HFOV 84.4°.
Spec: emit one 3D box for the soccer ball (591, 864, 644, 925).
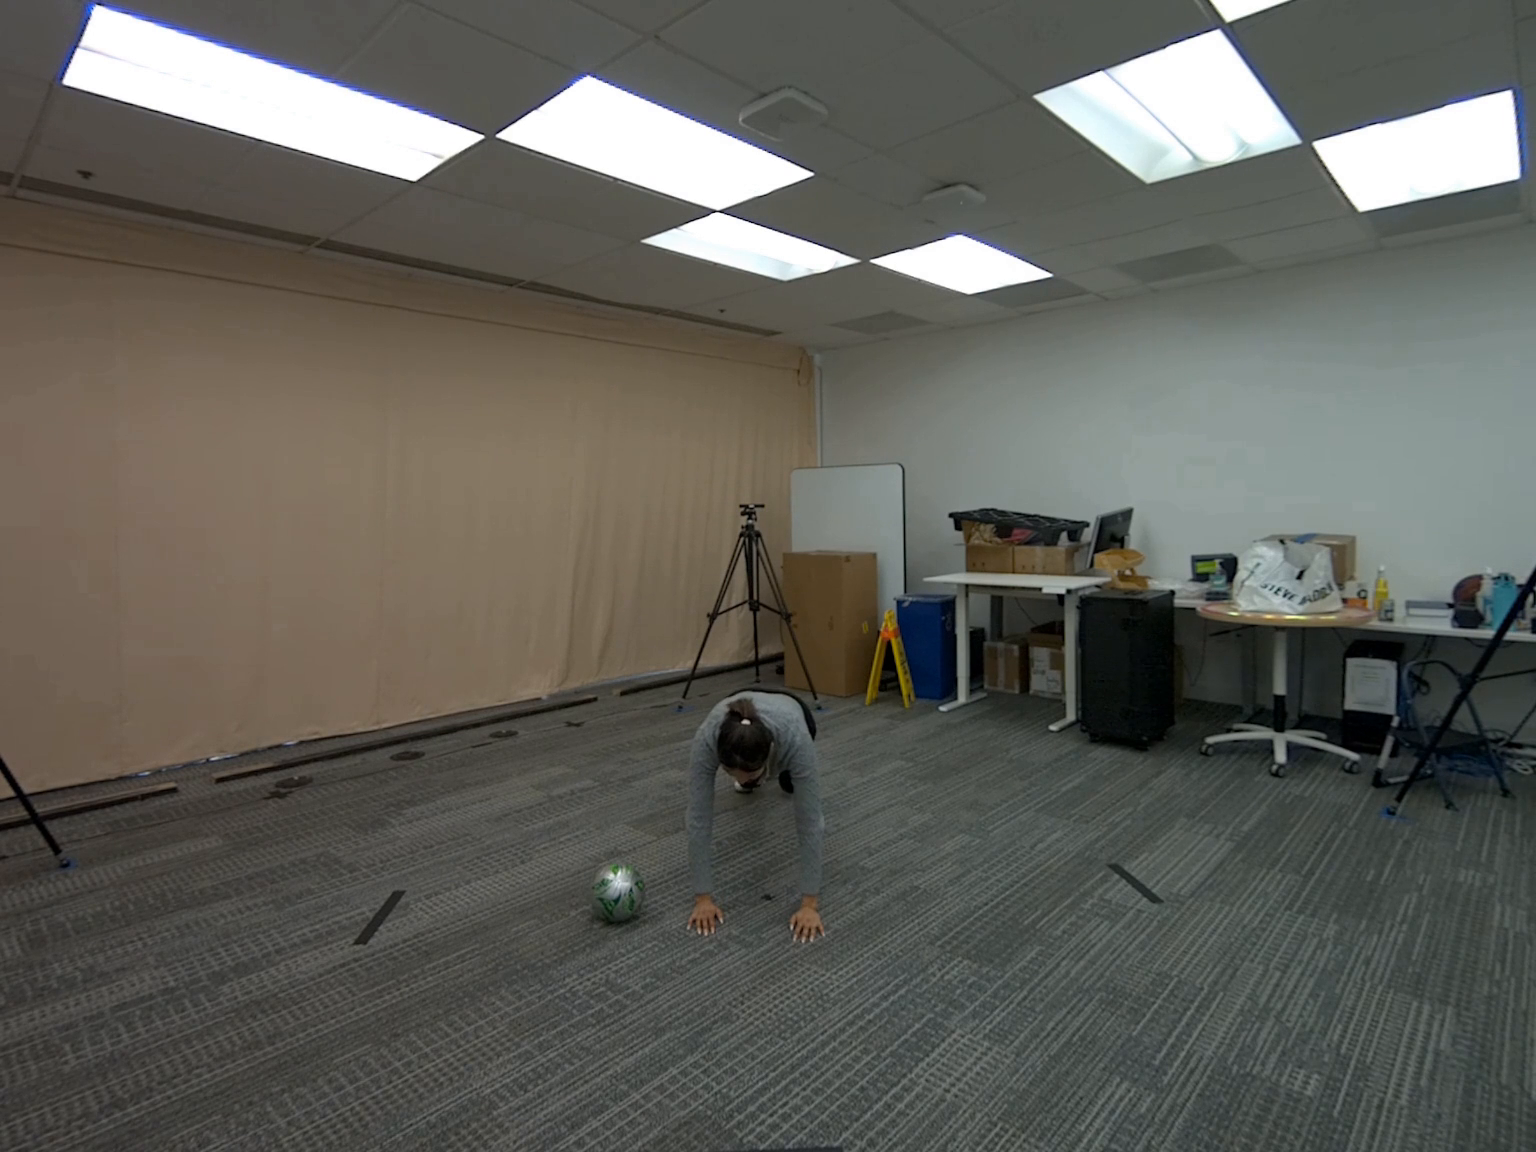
[{"bbox_3d":[-0.507,1.071,2.851,0.187,0.187,0.188,-1,4,-2],"label":"soccer ball"}]
